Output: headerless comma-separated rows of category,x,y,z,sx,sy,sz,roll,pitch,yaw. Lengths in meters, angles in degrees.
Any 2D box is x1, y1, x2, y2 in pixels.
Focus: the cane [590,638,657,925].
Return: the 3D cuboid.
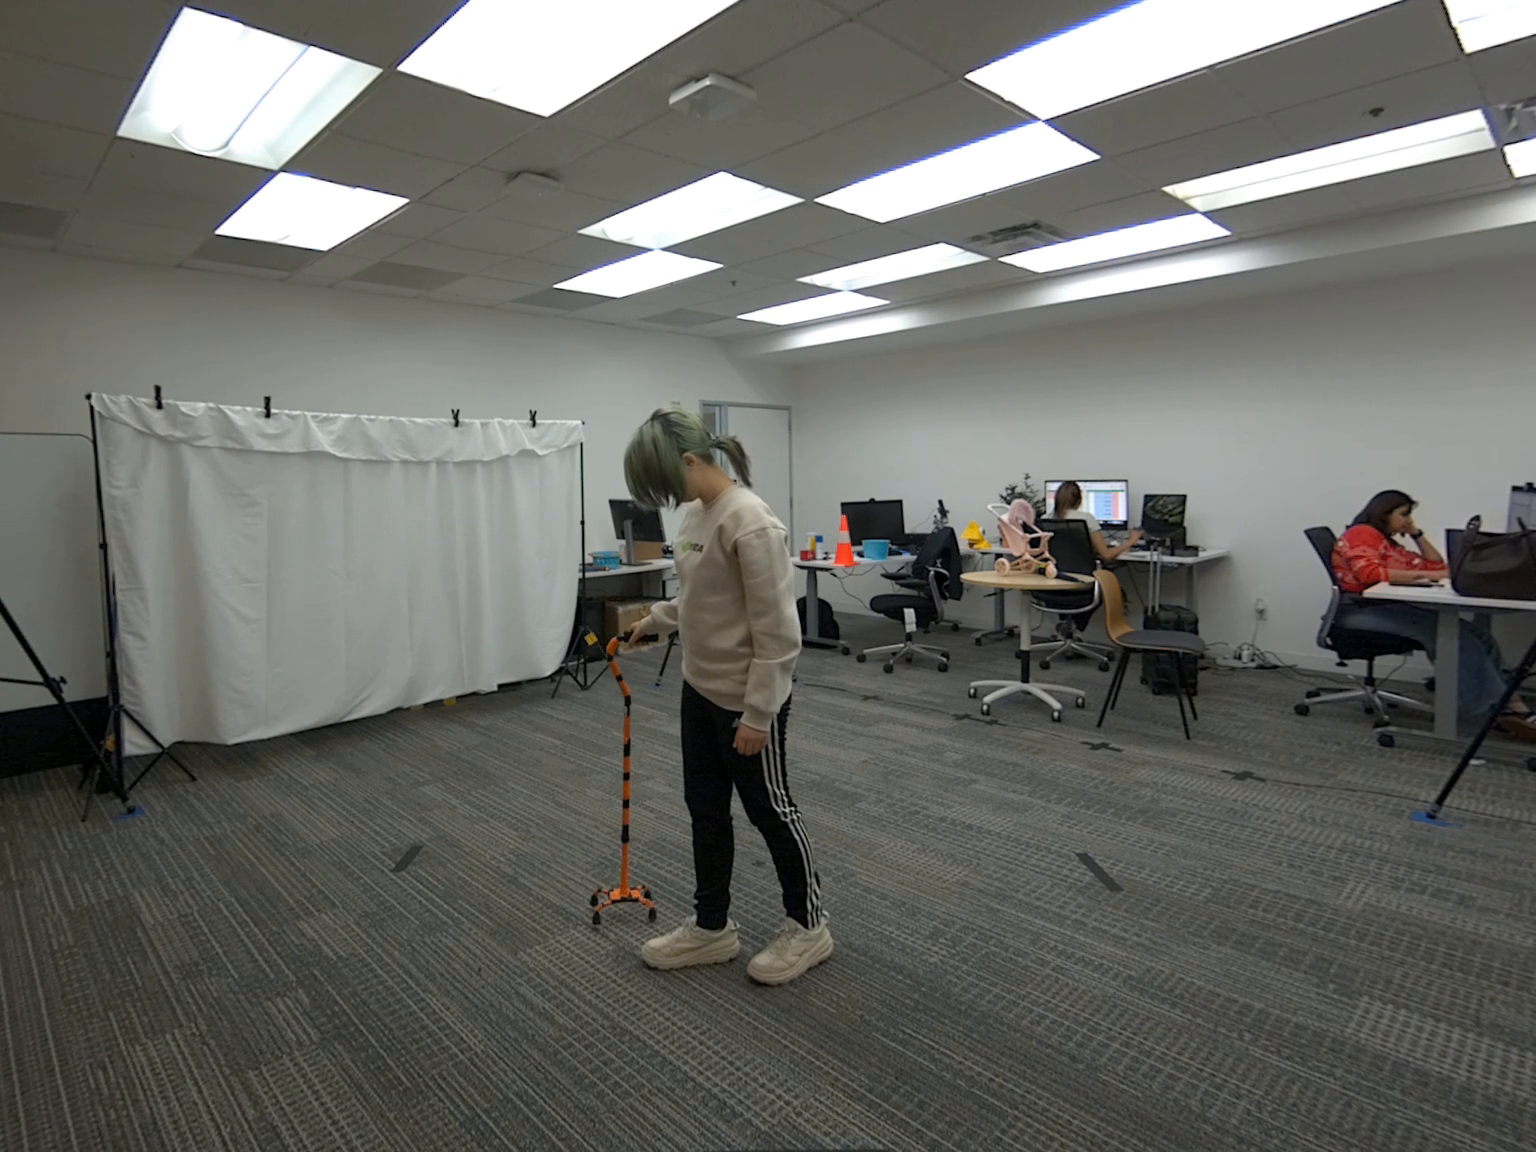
cane,-0.455,0.634,2.734,0.203,0.905,0.154,0,3,-15
